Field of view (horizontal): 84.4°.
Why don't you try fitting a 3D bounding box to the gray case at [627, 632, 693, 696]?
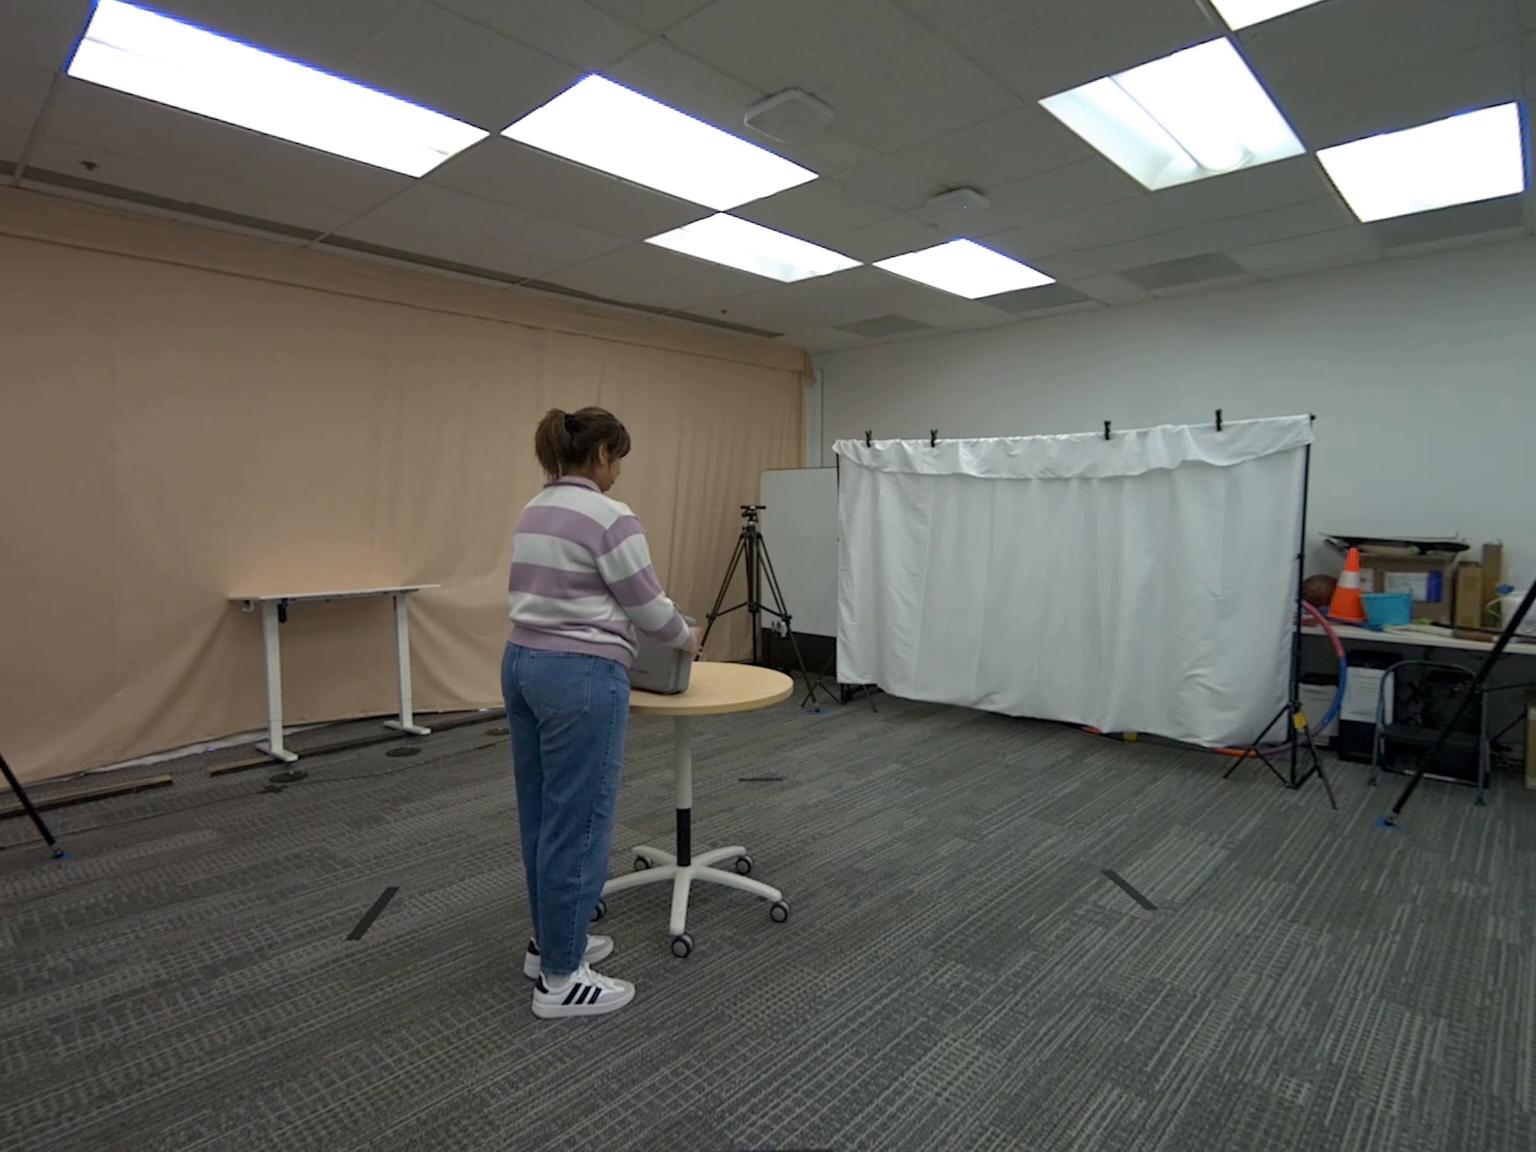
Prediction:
[{"bbox_3d":[-0.371,0.239,2.787,0.265,0.261,0.101,6,-4,39],"label":"gray case"}]
